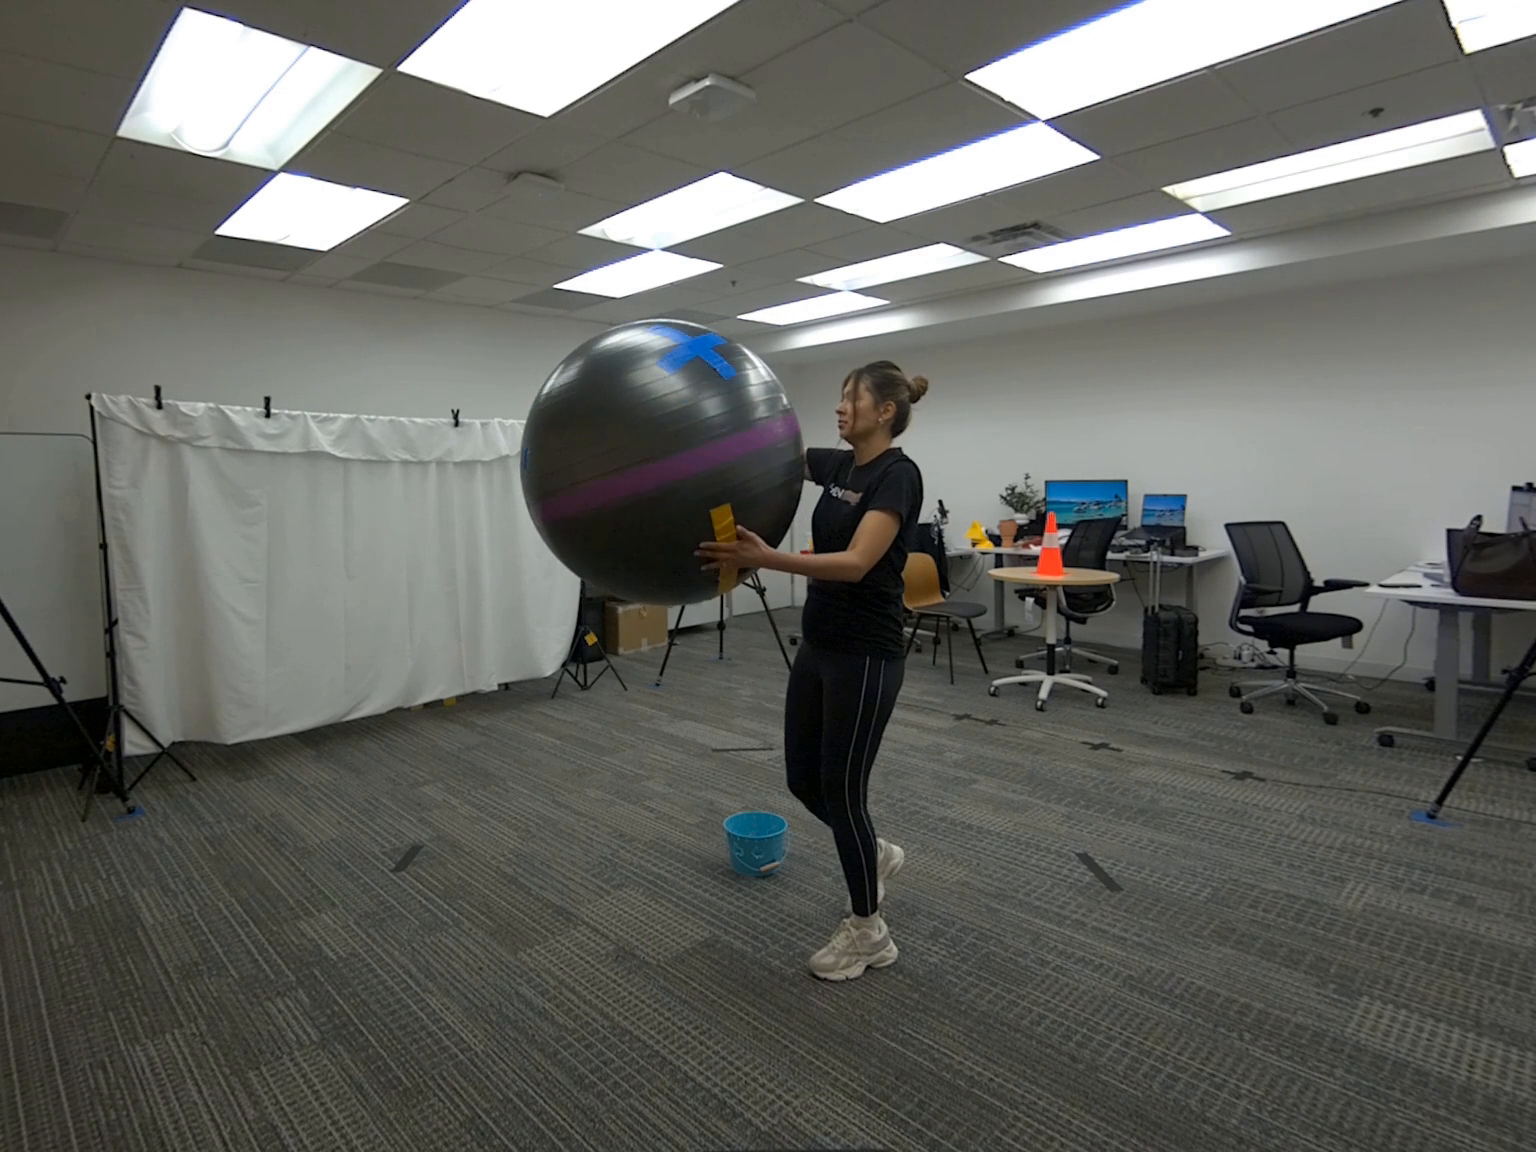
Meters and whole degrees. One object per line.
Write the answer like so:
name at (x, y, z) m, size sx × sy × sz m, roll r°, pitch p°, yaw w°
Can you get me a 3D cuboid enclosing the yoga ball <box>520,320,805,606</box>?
yoga ball at (-0.285, -0.289, 2.297) m, size 0.757 × 0.755 × 0.762 m, roll -1°, pitch 5°, yaw -2°
